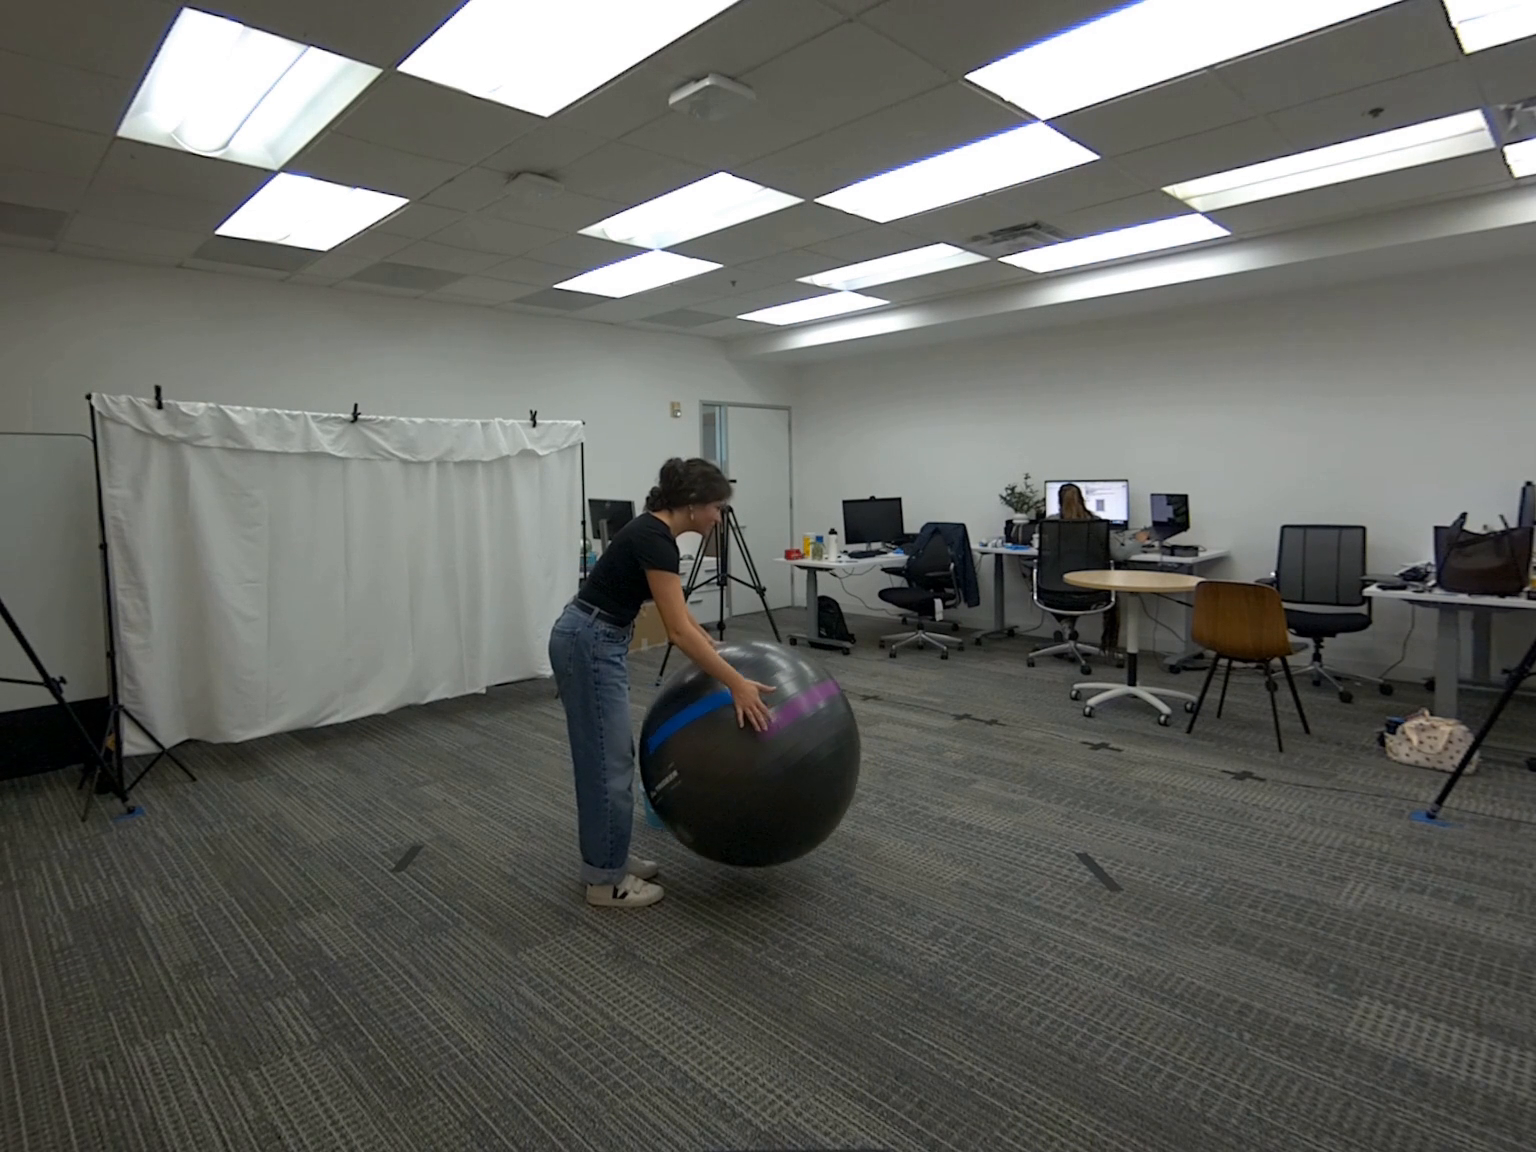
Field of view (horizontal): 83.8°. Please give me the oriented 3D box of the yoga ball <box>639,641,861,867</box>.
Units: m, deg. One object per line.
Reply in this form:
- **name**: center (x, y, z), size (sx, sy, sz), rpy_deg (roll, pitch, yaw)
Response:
- **yoga ball**: center (-0.054, 0.612, 2.933), size (0.757, 0.755, 0.762), rpy_deg (-1, 5, -2)
